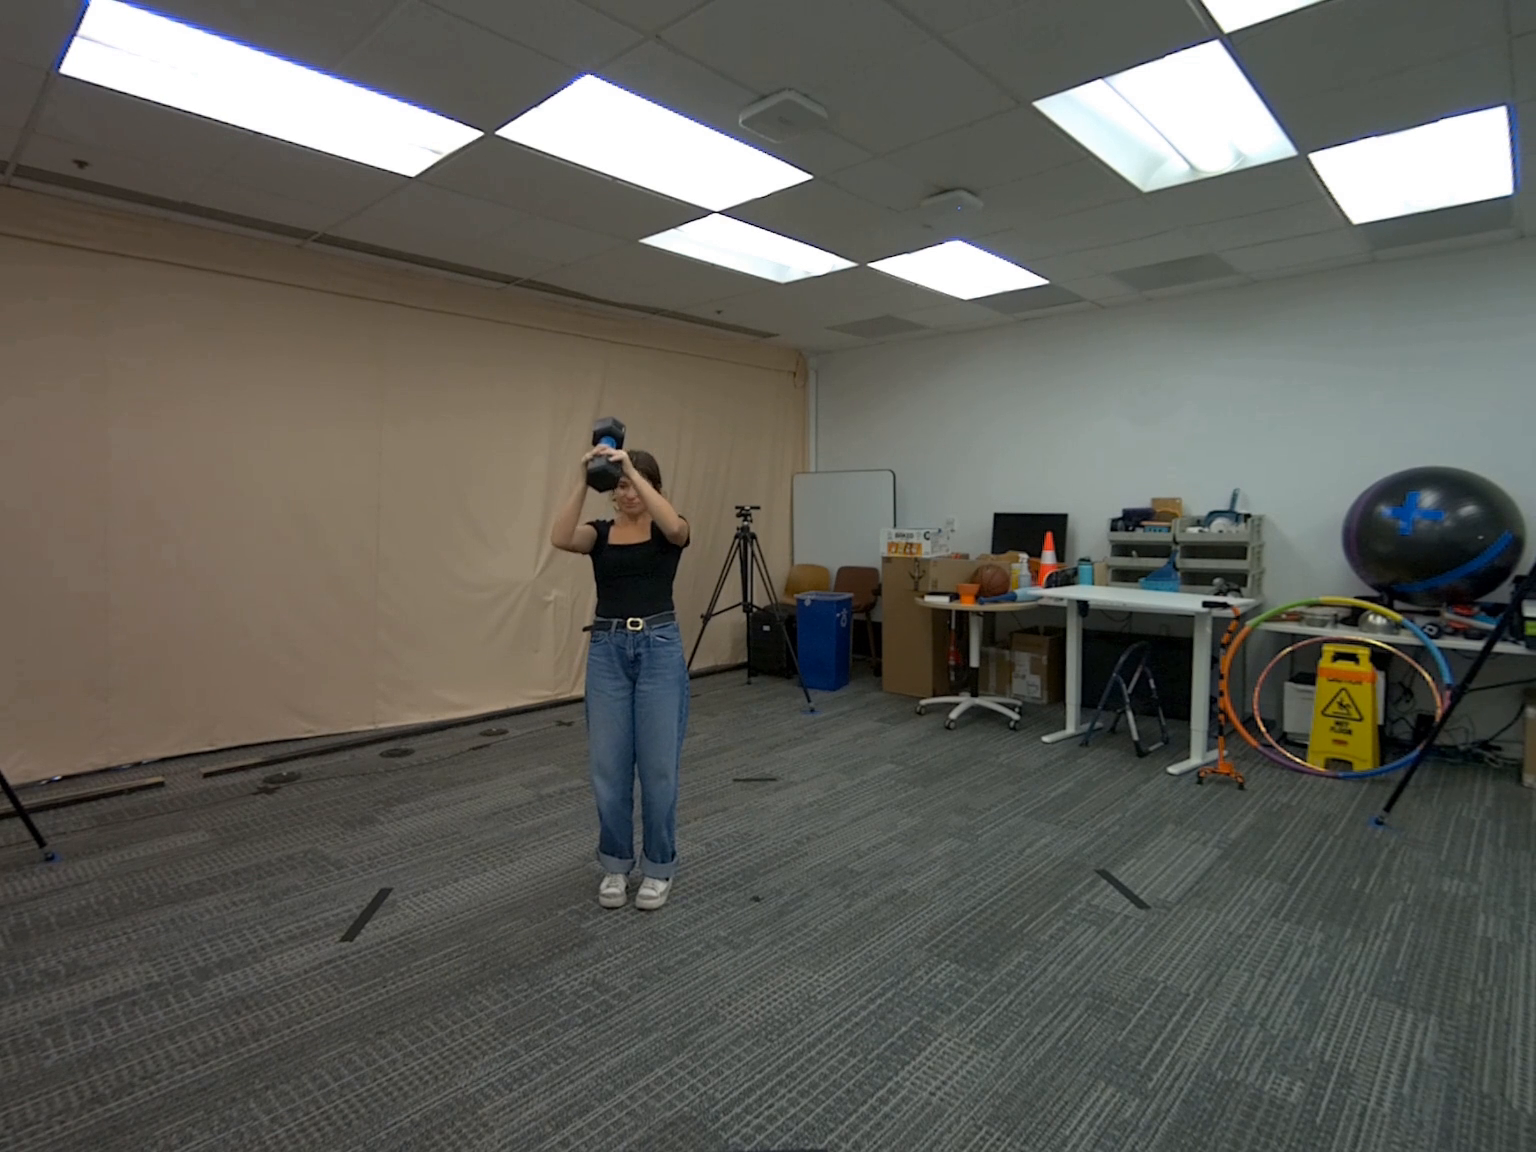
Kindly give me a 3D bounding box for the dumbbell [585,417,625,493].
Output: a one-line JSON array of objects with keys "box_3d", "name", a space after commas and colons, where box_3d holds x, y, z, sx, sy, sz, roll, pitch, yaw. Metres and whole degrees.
[{"box_3d": [-0.540, -0.407, 2.827, 0.107, 0.122, 0.299, 10, 43, -12], "name": "dumbbell"}]
